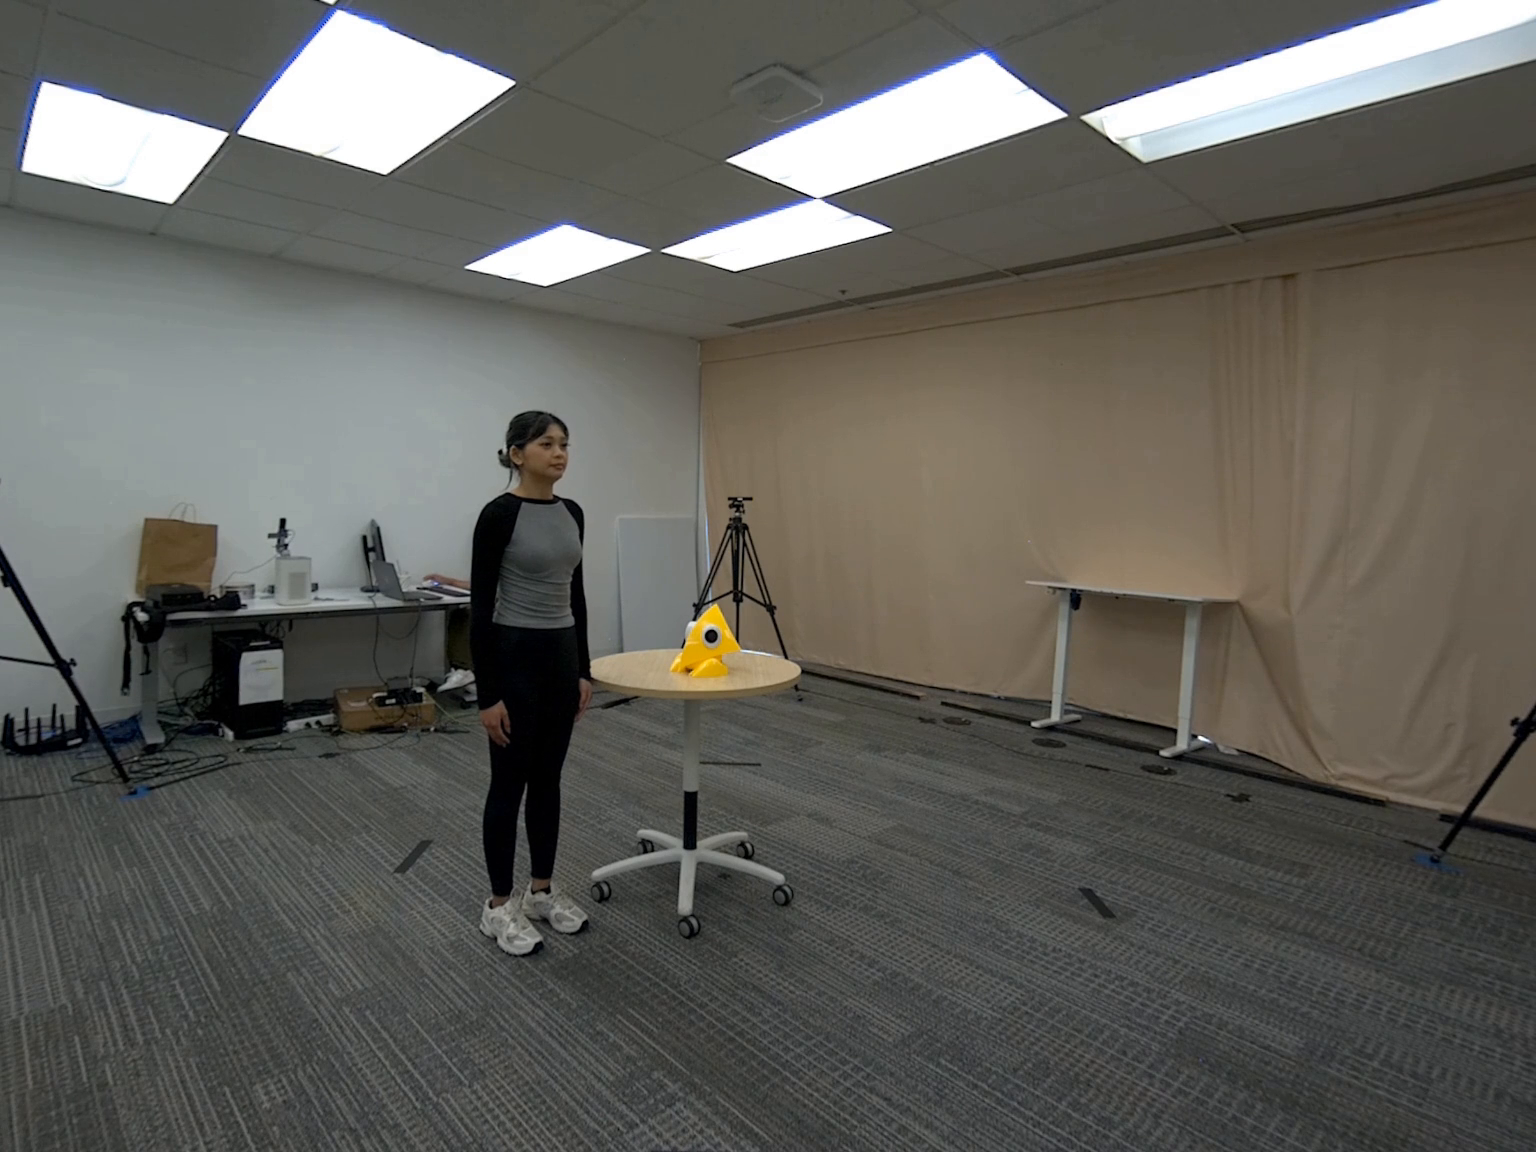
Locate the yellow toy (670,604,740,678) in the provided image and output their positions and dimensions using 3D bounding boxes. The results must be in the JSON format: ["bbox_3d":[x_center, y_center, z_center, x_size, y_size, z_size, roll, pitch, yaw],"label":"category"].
[{"bbox_3d":[-0.233,0.216,2.904,0.189,0.230,0.210,-3,5,-42],"label":"yellow toy"}]
